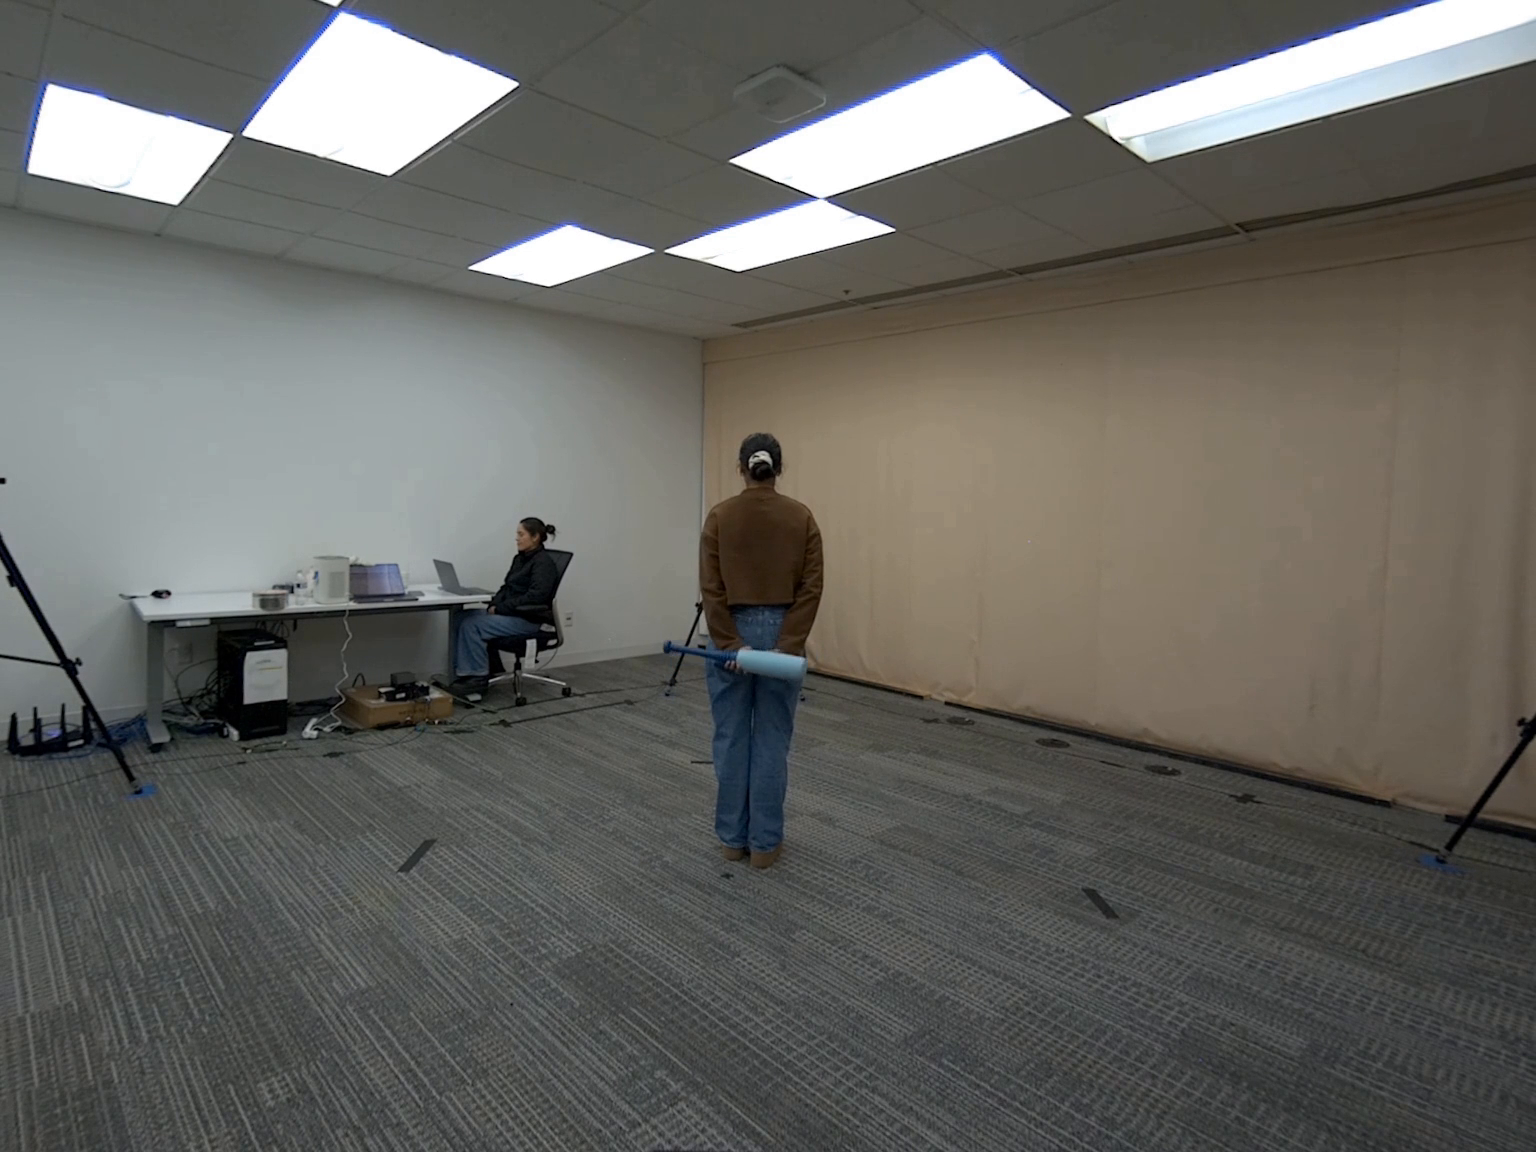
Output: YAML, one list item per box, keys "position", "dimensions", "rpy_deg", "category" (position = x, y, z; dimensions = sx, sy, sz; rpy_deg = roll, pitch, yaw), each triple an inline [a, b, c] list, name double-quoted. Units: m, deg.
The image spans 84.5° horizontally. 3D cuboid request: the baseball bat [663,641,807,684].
- position: [-0.150, 0.308, 3.072]
  dimensions: [0.549, 0.089, 0.088]
  rpy_deg: [8, 5, 13]
  category: "baseball bat"
